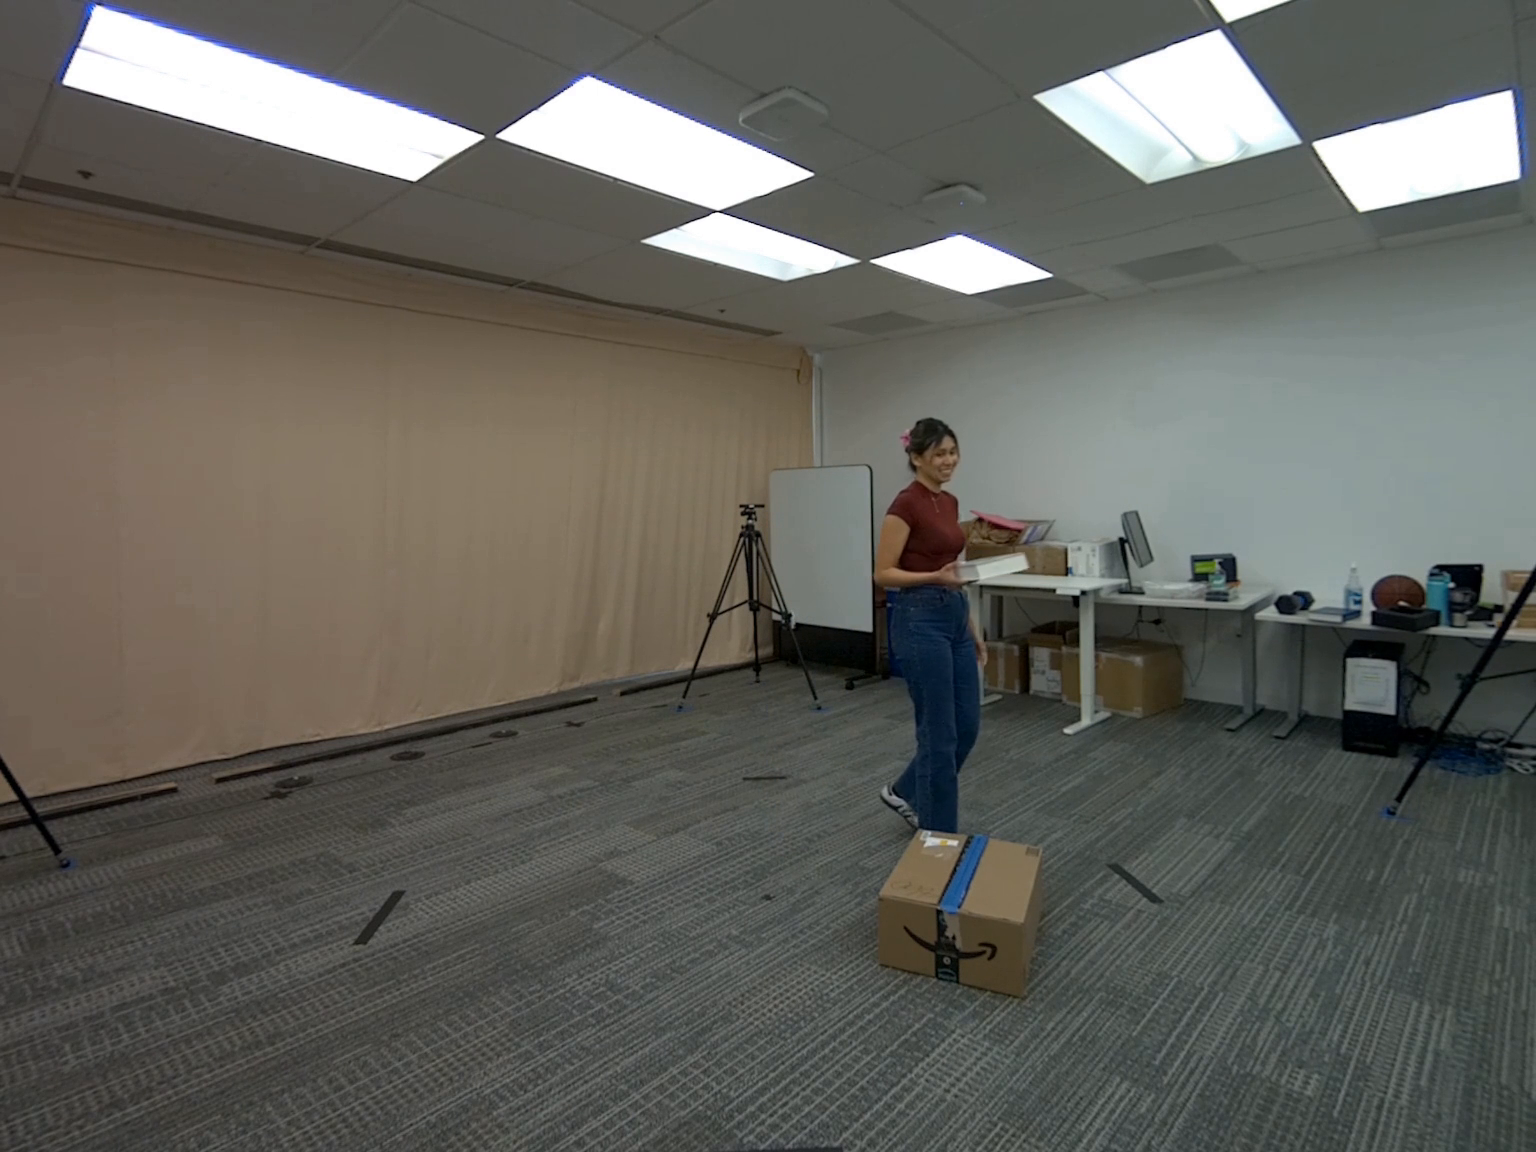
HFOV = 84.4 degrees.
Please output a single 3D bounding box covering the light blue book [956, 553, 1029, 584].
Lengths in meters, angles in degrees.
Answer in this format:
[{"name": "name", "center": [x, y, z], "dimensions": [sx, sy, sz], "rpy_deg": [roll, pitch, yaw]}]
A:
[{"name": "light blue book", "center": [0.771, -0.026, 3.009], "dimensions": [0.190, 0.059, 0.262], "rpy_deg": [-11, 0, -8]}]
